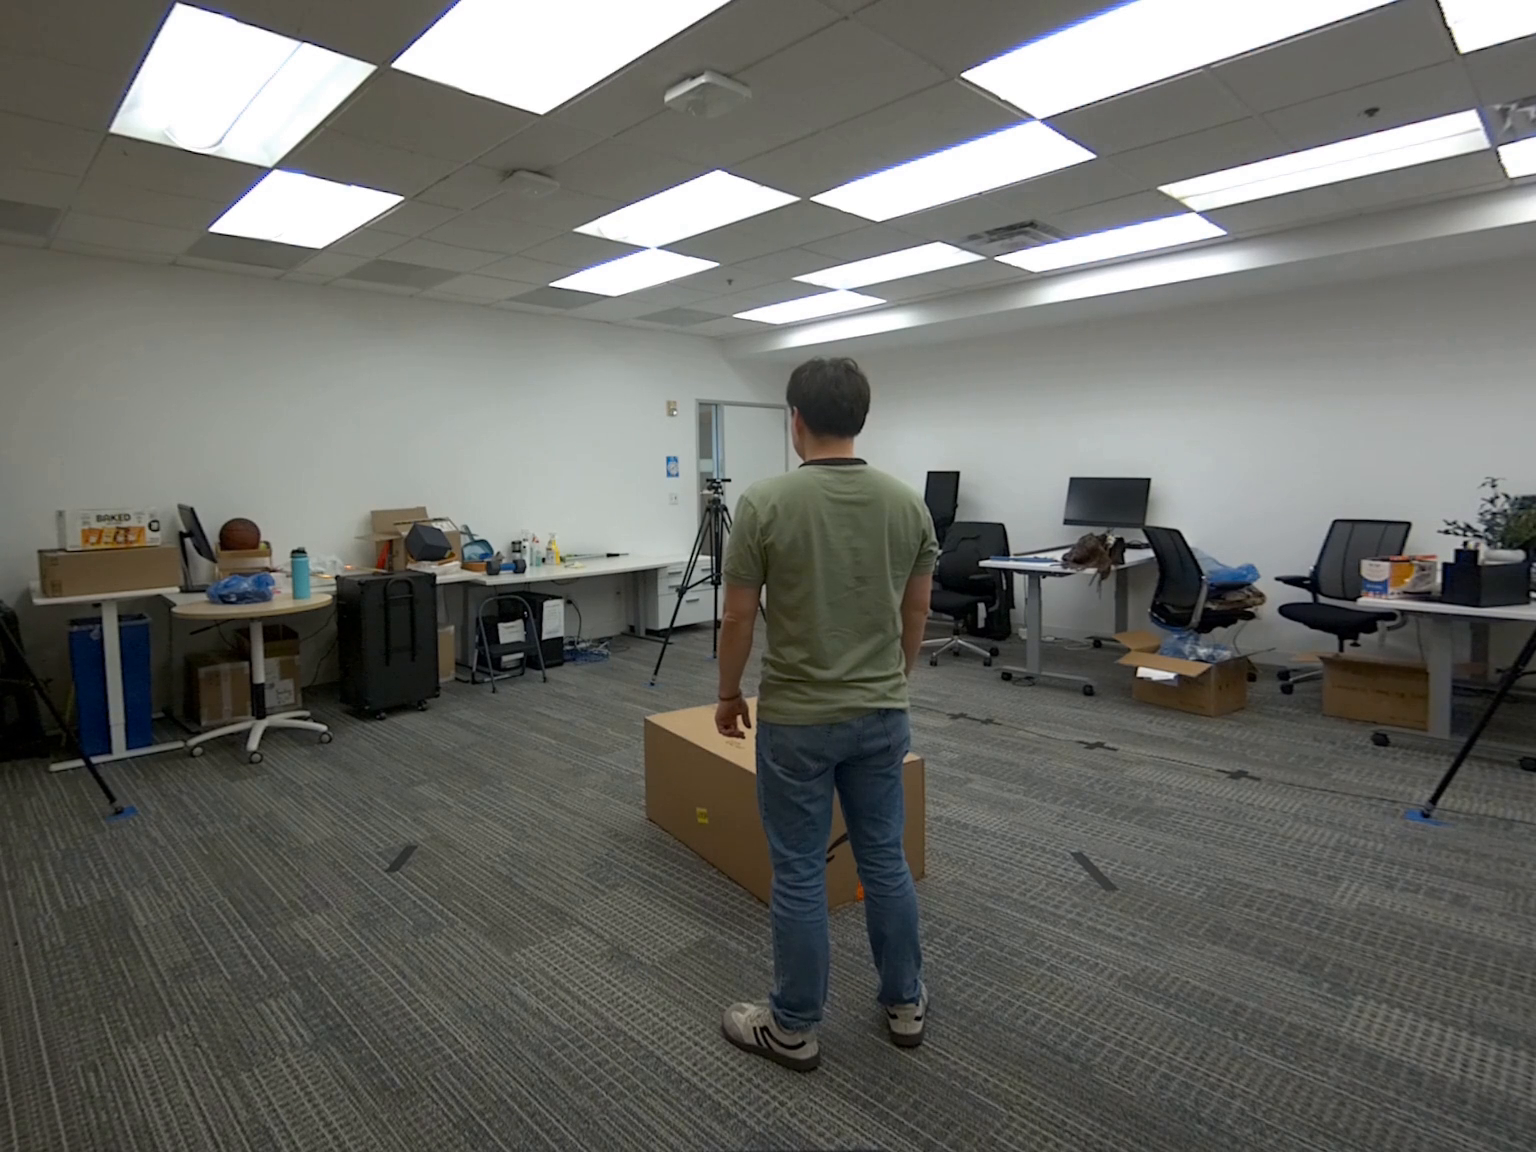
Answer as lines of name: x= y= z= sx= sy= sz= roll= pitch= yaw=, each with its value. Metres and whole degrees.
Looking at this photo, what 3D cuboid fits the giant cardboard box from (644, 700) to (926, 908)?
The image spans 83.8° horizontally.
giant cardboard box: x=0.016 y=0.816 z=3.244 sx=0.563 sy=0.424 sz=1.056 roll=-4 pitch=7 yaw=-33
